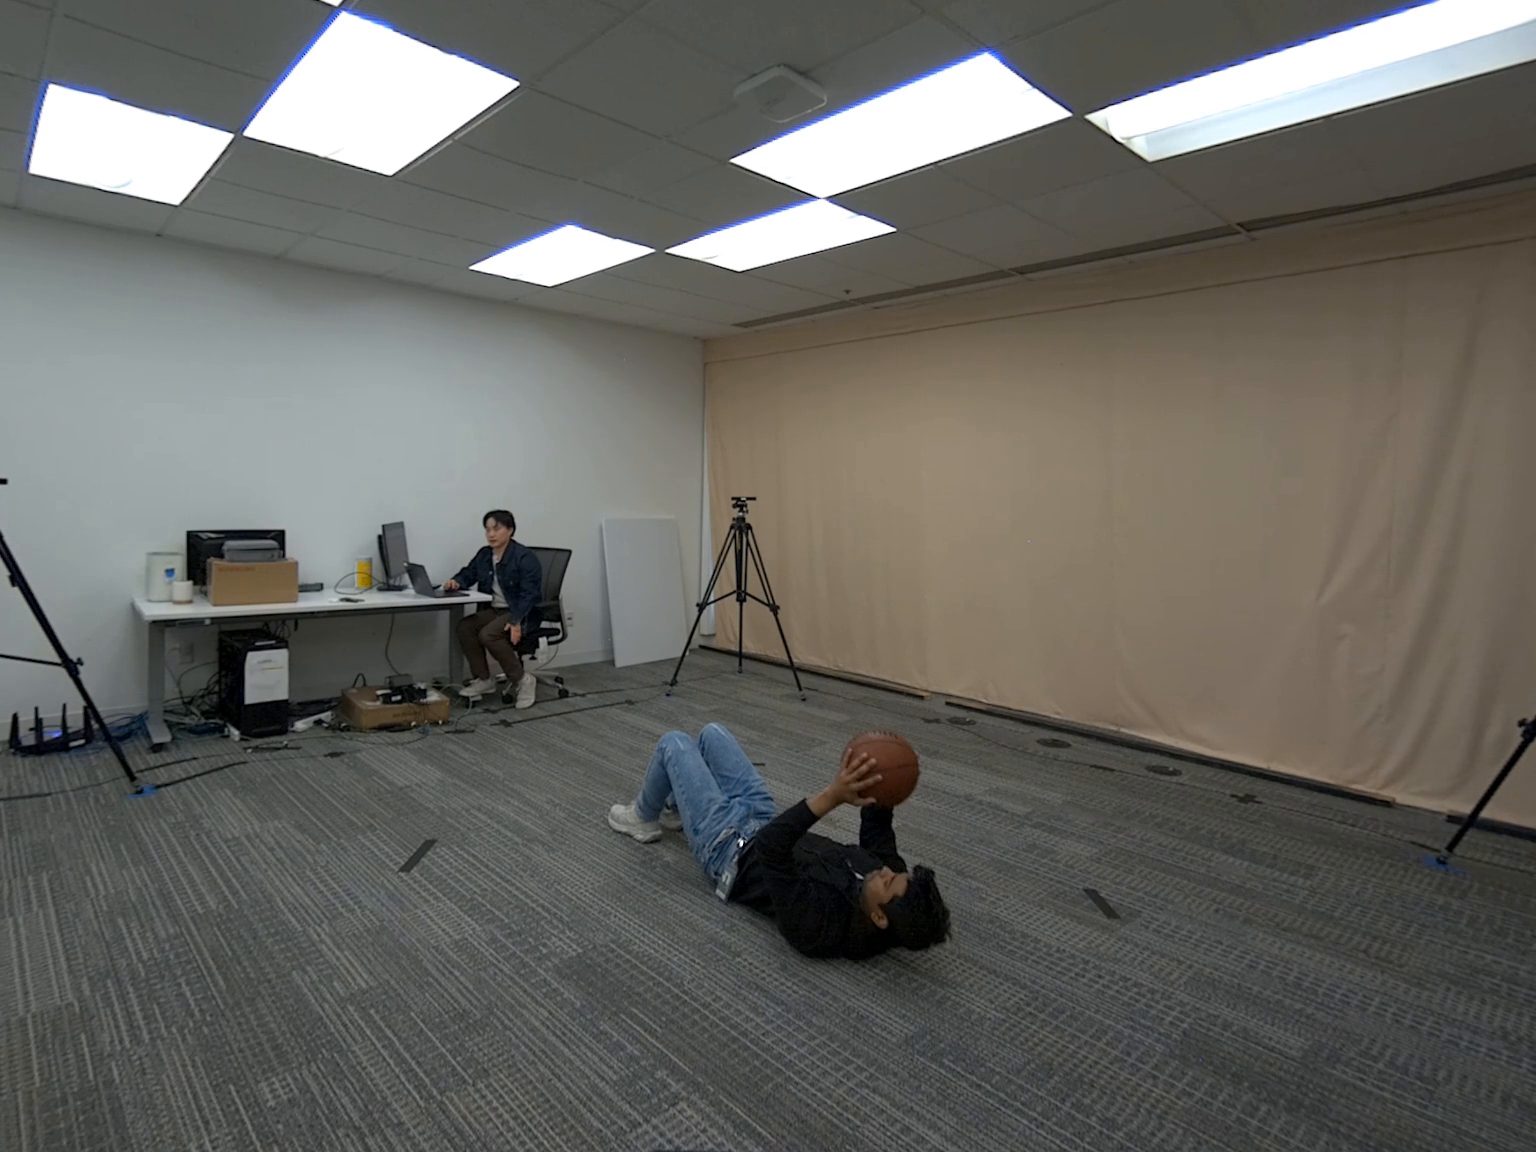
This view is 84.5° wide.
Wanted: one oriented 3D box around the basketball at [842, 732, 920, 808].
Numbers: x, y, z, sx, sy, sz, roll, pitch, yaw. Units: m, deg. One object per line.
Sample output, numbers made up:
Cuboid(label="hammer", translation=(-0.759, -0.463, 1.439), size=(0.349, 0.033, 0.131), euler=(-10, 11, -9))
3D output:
Cuboid(label="basketball", translation=(0.339, 0.601, 2.583), size=(0.236, 0.235, 0.237), euler=(1, 4, -1))
